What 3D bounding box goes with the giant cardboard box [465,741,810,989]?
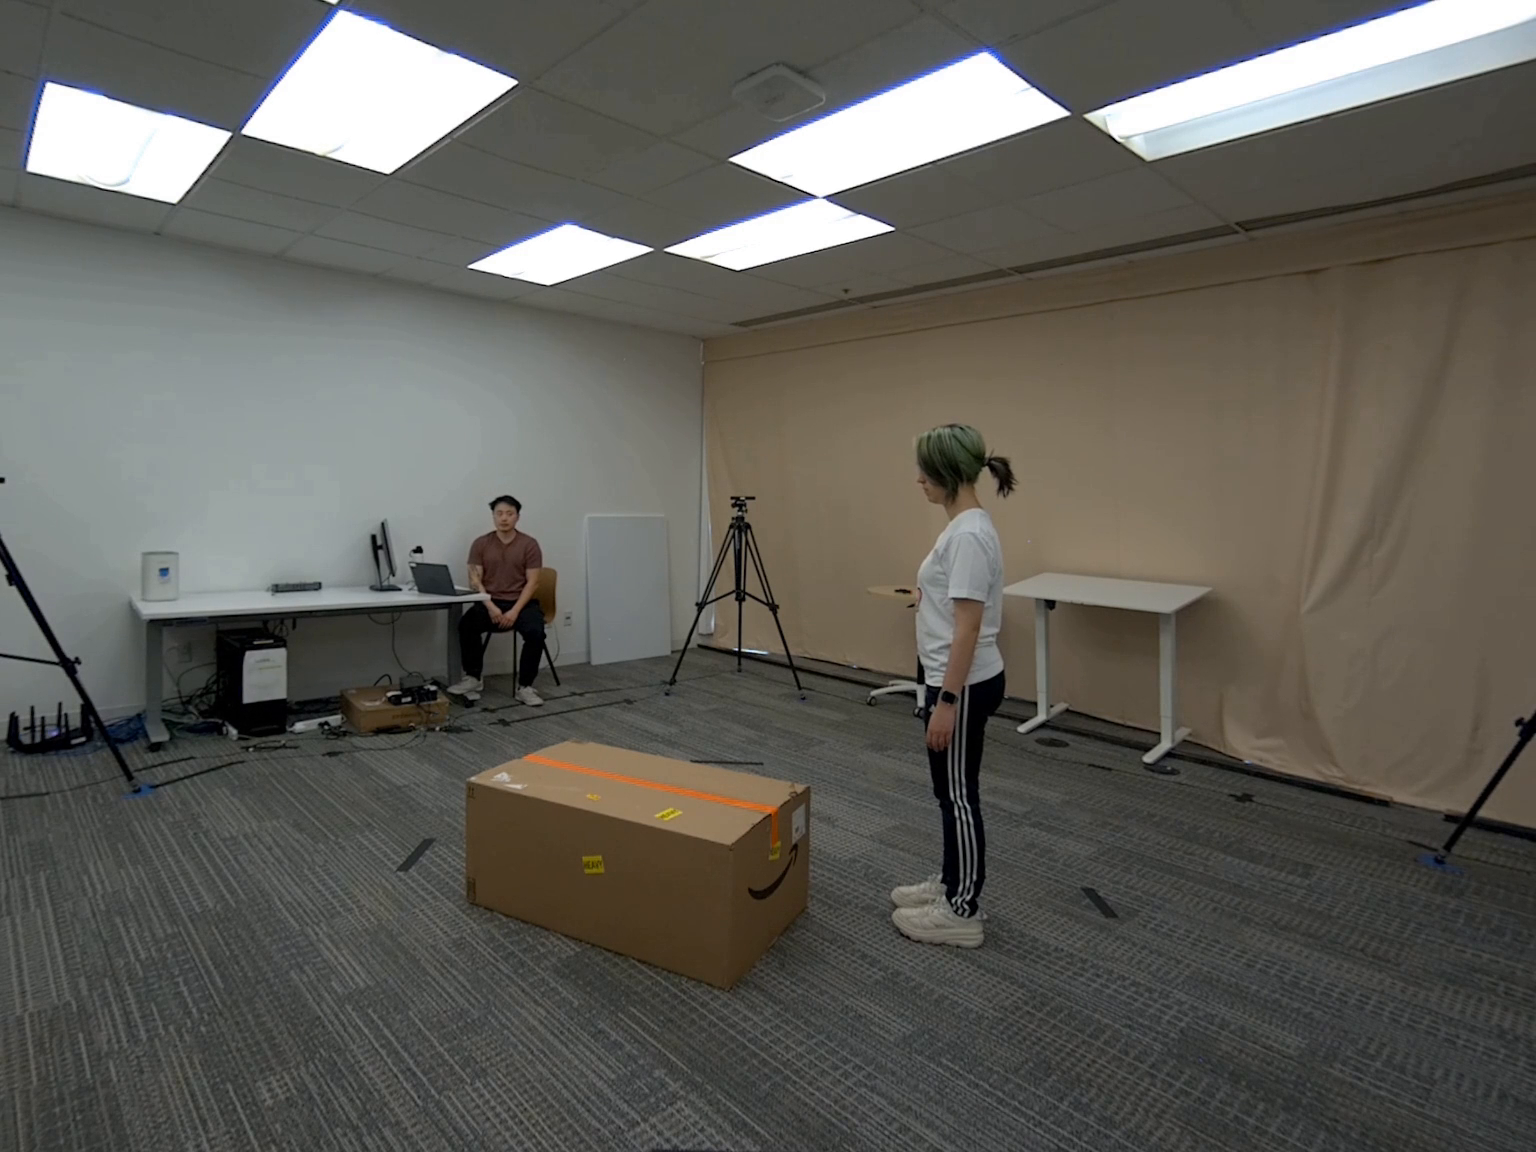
[{"bbox_3d":[-0.442,0.904,2.850,1.047,0.425,0.567,4,6,27],"label":"giant cardboard box"}]
